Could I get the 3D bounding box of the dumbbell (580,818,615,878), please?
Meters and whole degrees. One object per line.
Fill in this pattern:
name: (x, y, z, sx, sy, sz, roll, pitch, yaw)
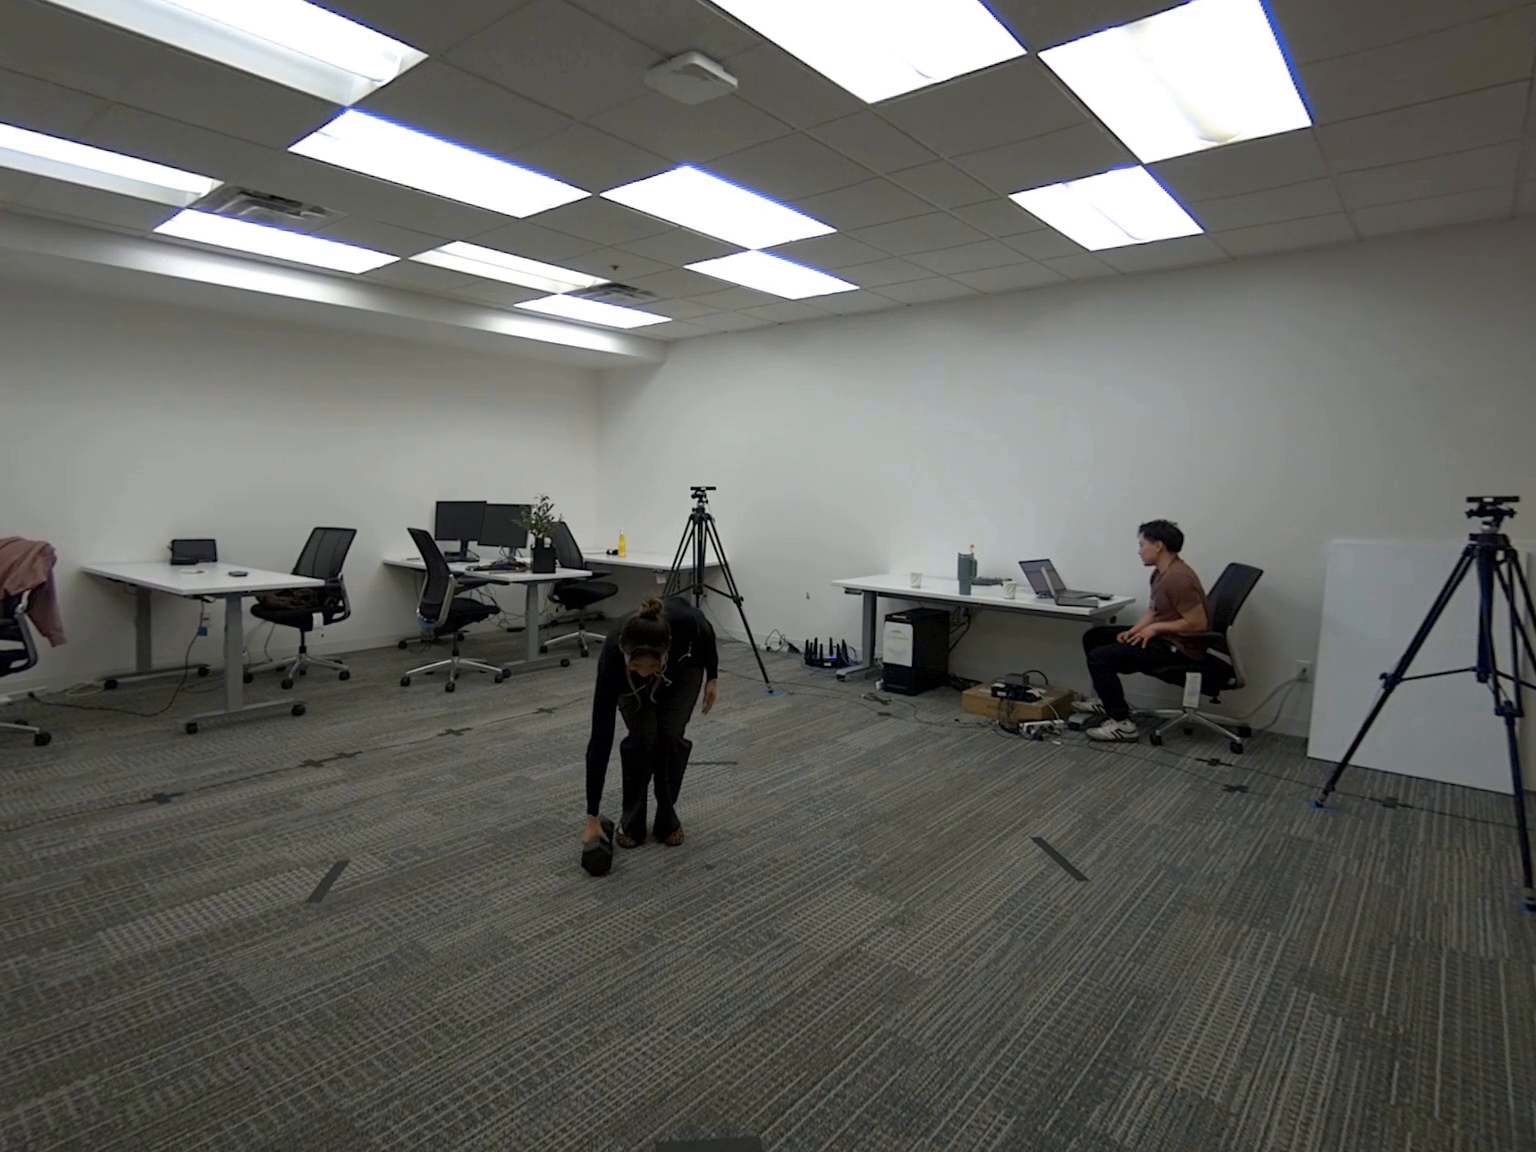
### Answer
dumbbell: (-0.639, 0.990, 3.155, 0.121, 0.109, 0.297, 39, -1, -11)
